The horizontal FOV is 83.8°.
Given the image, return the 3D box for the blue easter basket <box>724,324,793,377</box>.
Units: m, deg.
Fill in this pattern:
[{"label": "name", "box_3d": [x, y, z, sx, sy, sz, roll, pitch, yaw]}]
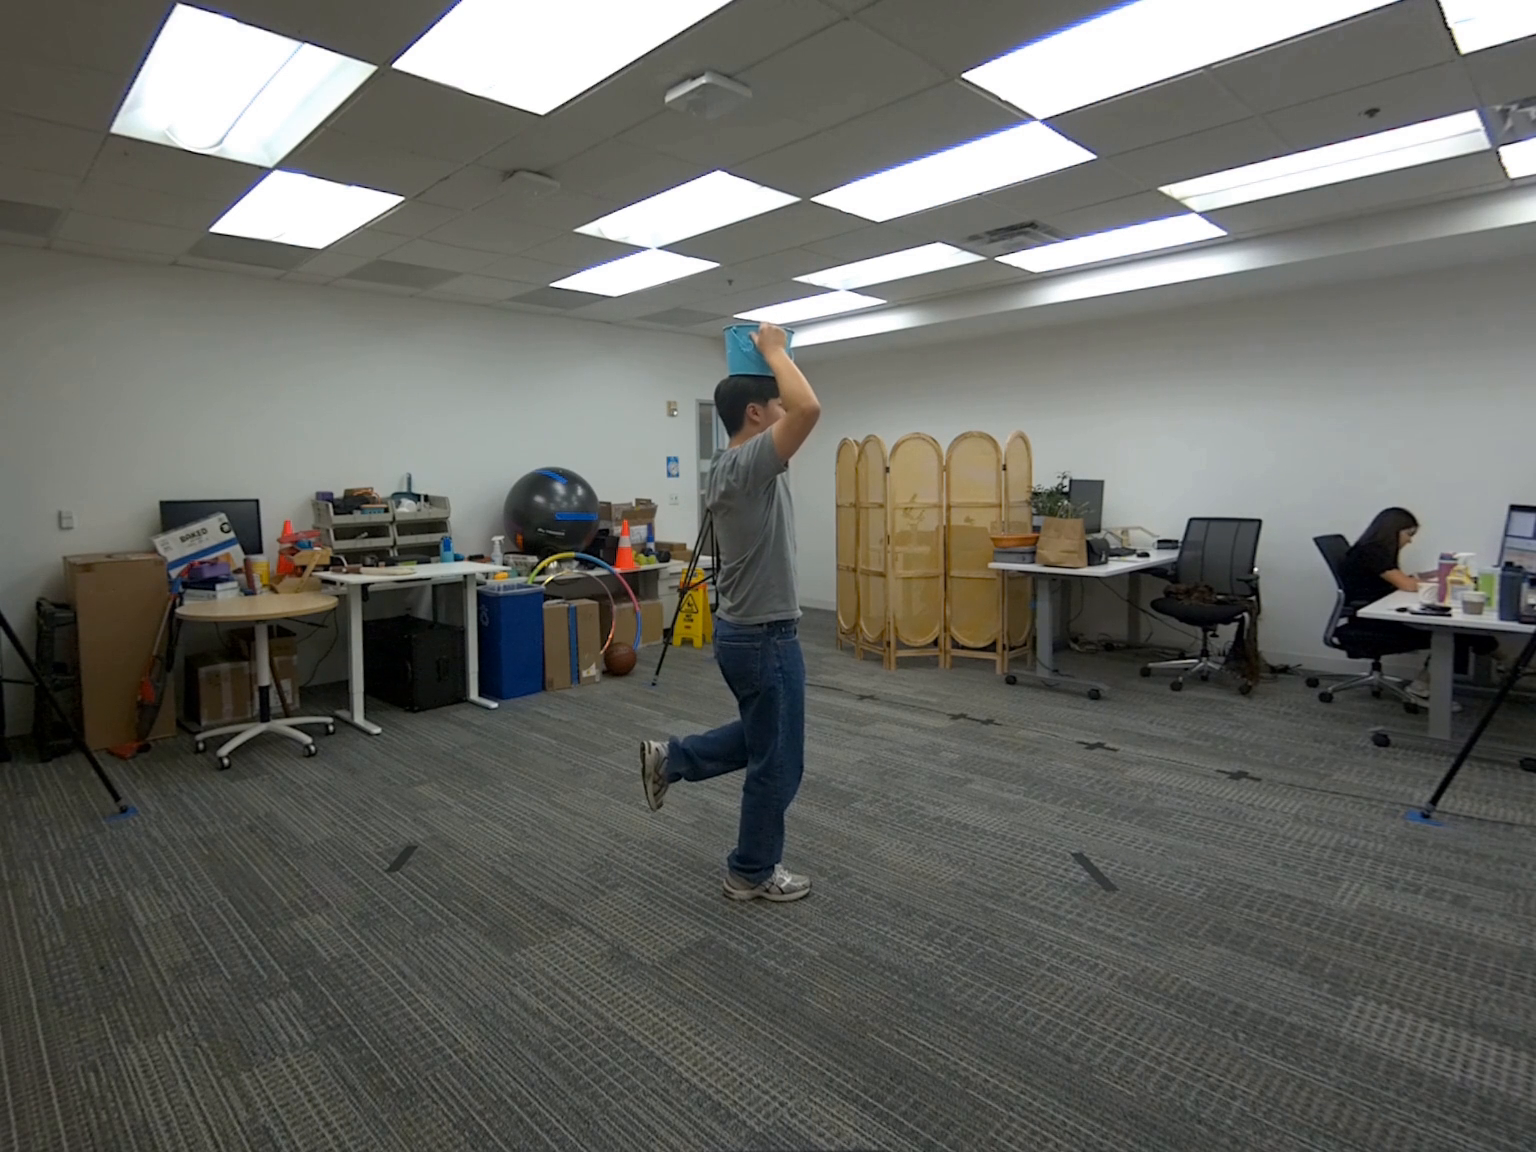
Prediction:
[{"label": "blue easter basket", "box_3d": [-0.028, -0.721, 2.771, 0.243, 0.155, 0.245, 1, 6, -2]}]
